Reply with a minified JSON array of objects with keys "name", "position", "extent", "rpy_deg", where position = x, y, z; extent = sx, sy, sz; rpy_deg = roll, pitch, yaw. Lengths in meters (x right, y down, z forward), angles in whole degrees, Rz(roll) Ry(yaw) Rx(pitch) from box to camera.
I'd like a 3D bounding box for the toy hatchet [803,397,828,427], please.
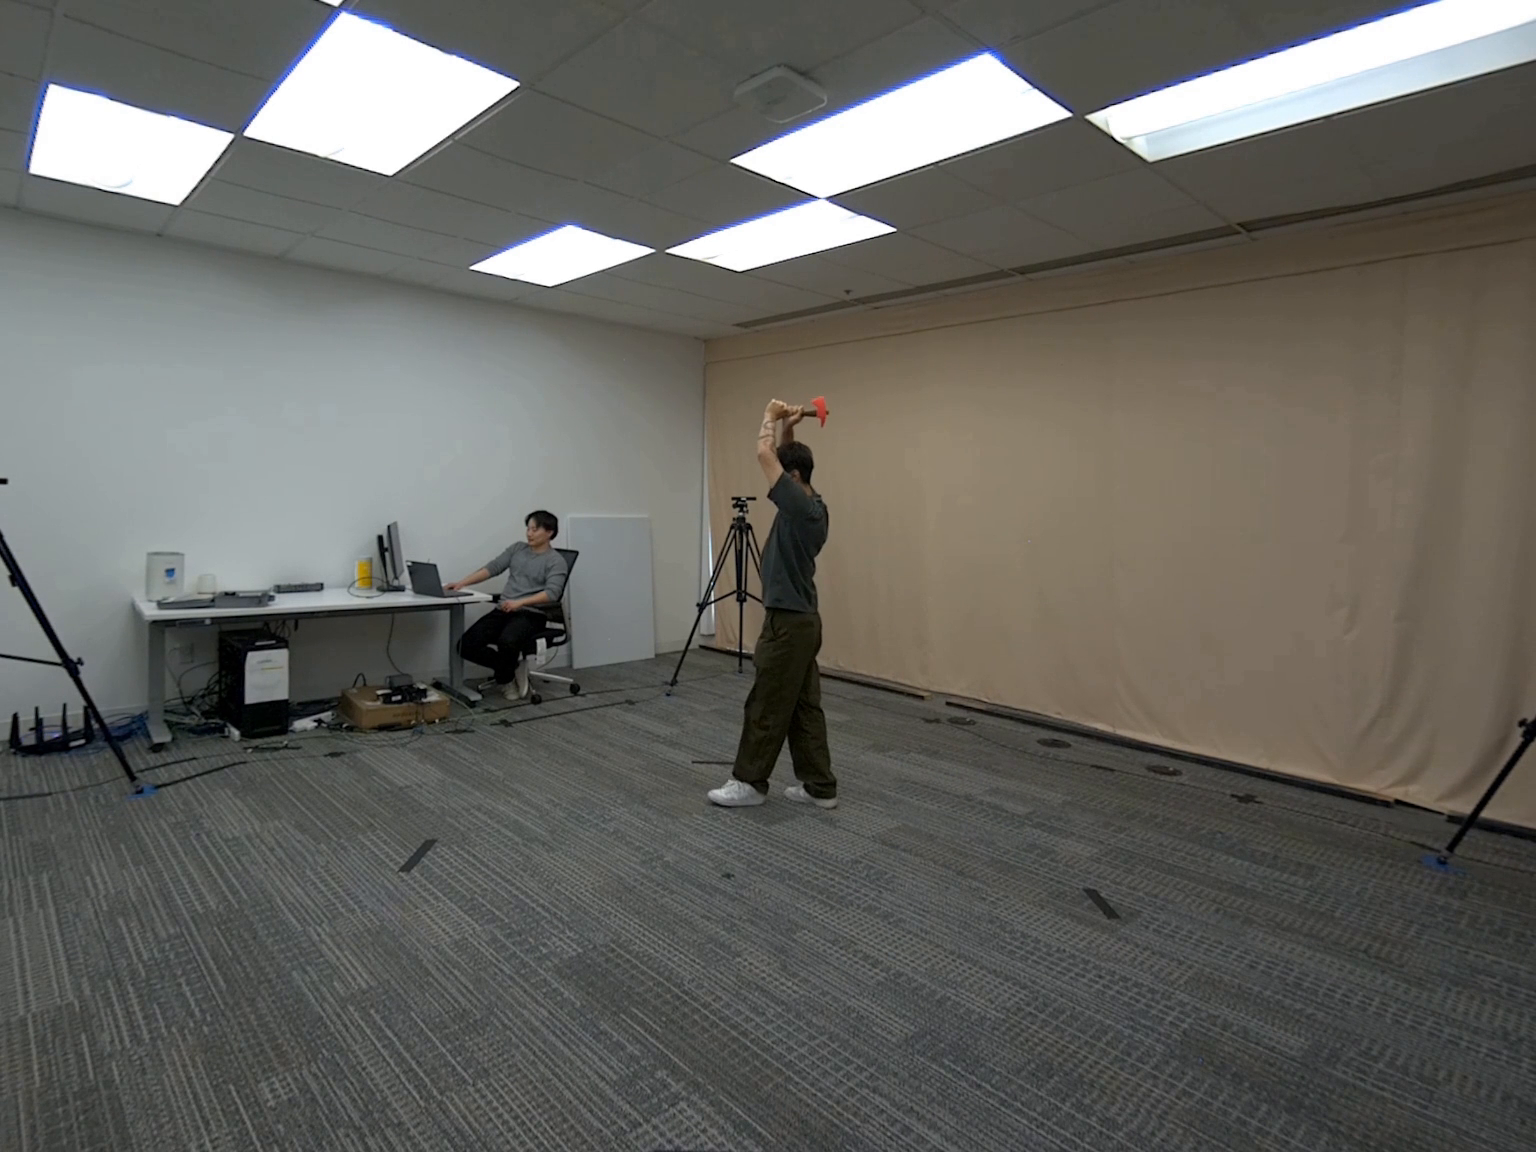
[{"name":"toy hatchet","position":[0.135,-0.767,3.799],"extent":[0.272,0.130,0.029],"rpy_deg":[19,10,6]}]
